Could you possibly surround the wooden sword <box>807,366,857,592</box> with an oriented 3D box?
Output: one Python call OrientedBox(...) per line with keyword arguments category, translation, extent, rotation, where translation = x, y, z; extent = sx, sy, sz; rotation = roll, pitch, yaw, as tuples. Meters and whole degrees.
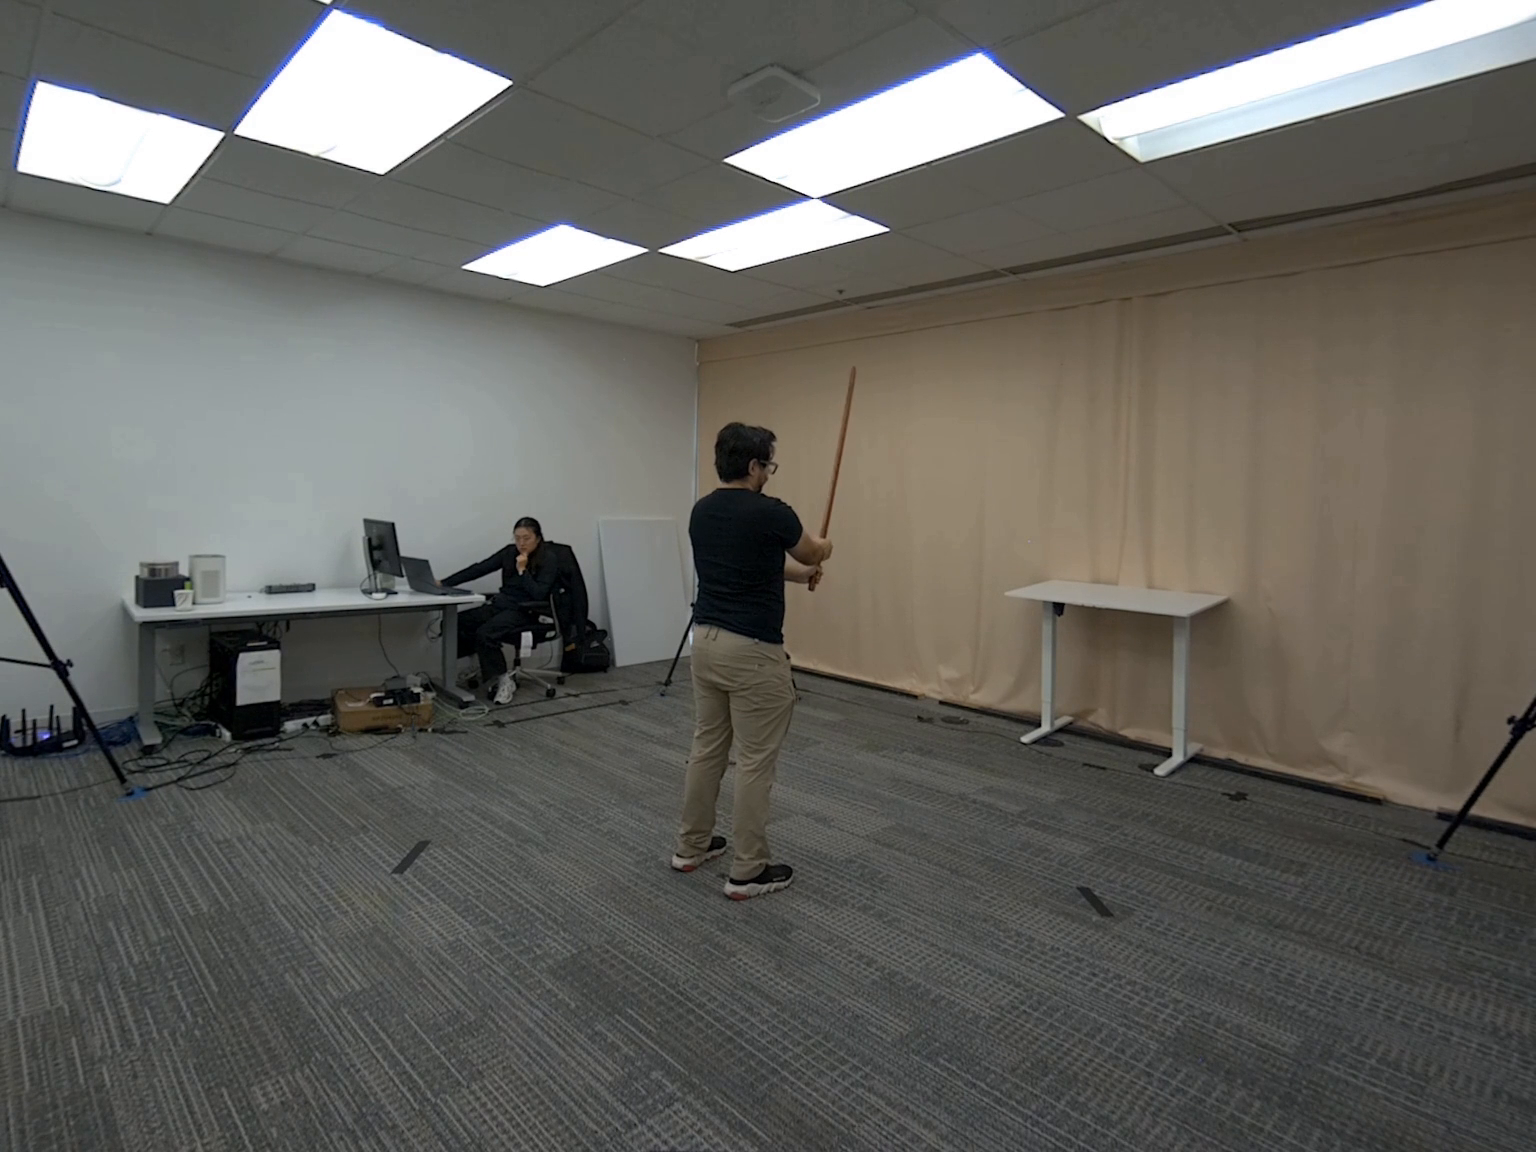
OrientedBox(category="wooden sword", translation=(0.286, -0.451, 3.555), extent=(0.052, 1.034, 0.023), rotation=(5, -19, 22))
